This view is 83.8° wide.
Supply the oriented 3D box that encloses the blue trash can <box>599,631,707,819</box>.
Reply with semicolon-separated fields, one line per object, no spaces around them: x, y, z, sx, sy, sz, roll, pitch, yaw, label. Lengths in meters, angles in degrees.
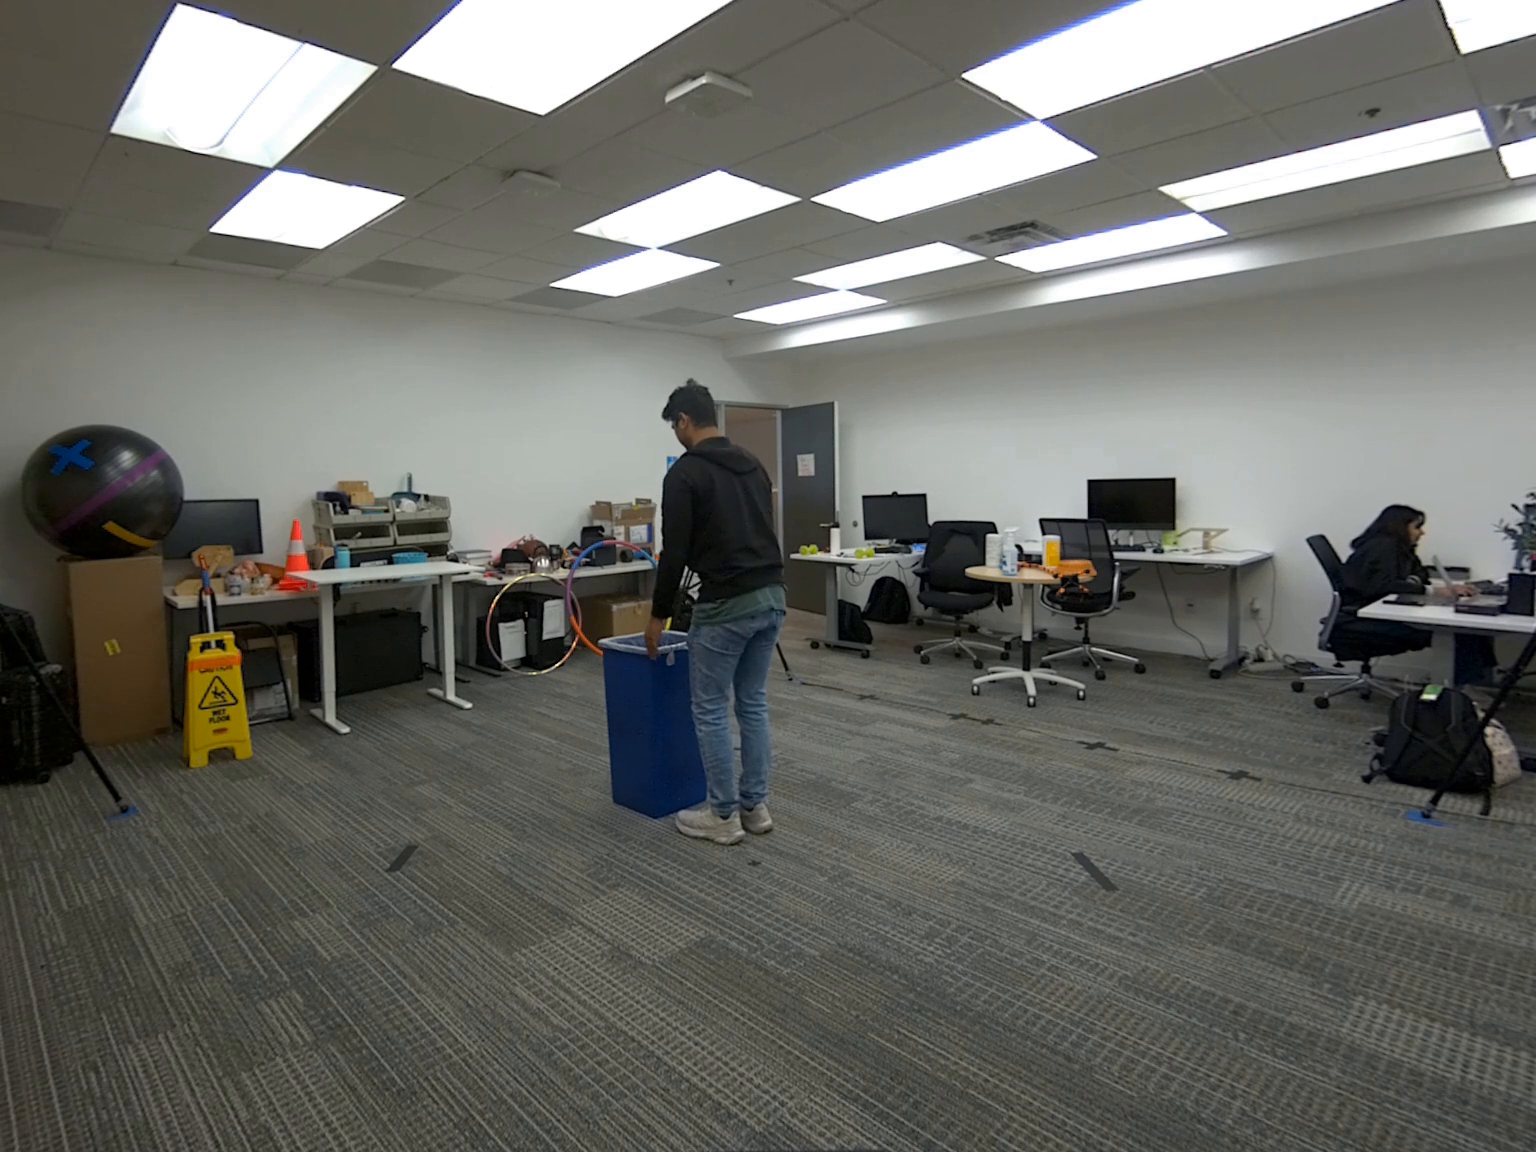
-0.487;0.627;3.719;0.385;0.711;0.368;3;5;44;blue trash can
